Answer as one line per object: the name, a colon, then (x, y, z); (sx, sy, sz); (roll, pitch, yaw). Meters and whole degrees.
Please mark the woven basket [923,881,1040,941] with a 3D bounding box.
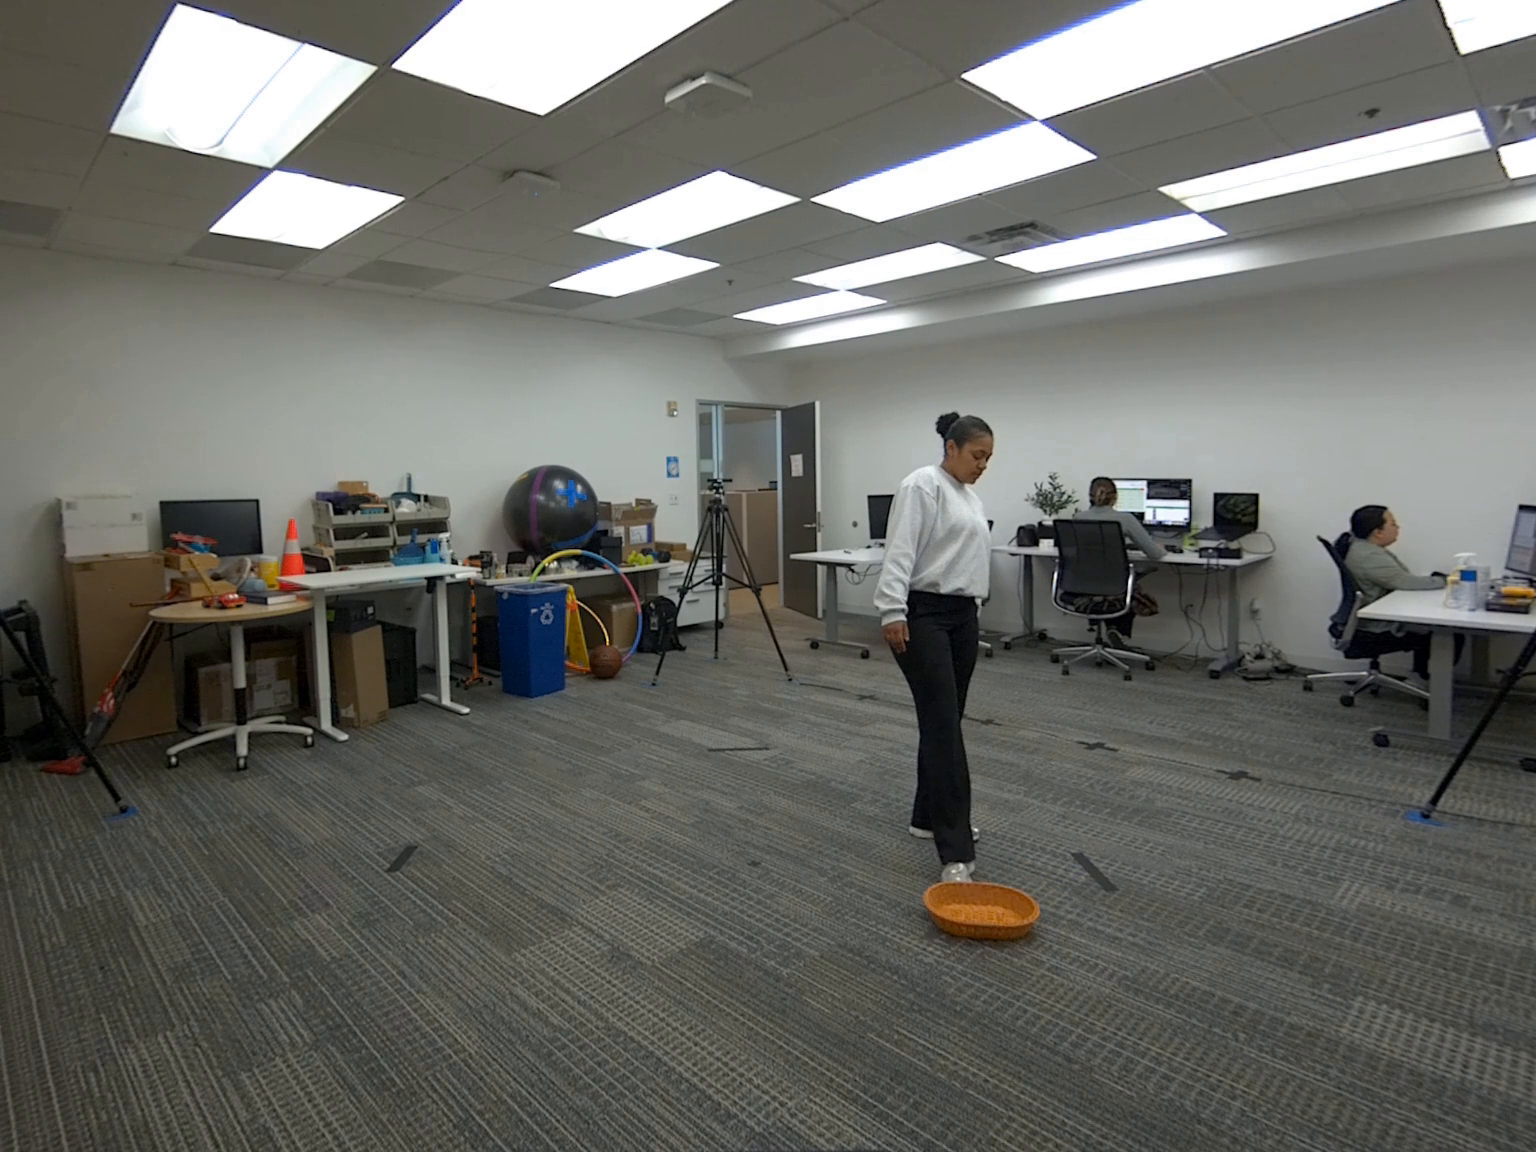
woven basket: (0.670, 1.044, 2.666); (0.355, 0.073, 0.251); (-1, 8, 12)
